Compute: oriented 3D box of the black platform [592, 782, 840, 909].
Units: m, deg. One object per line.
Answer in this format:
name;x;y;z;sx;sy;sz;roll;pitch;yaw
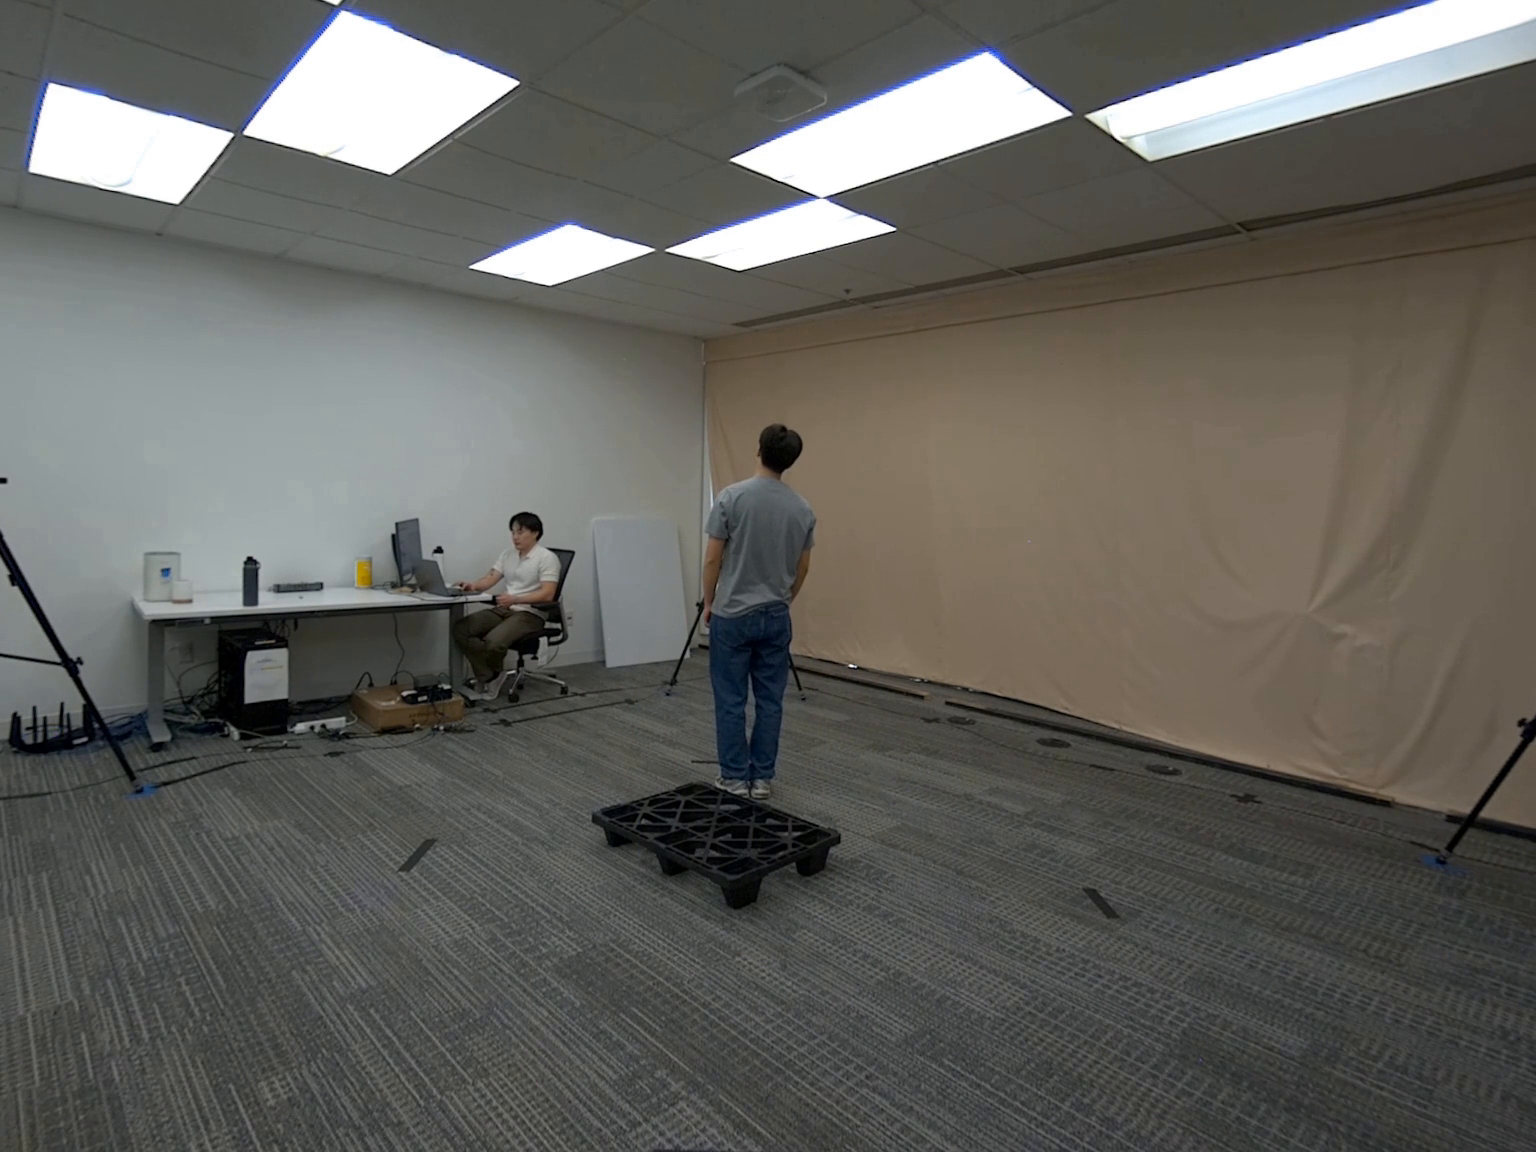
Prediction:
black platform;-0.219;1.022;3.269;0.826;0.143;0.591;6;7;44
